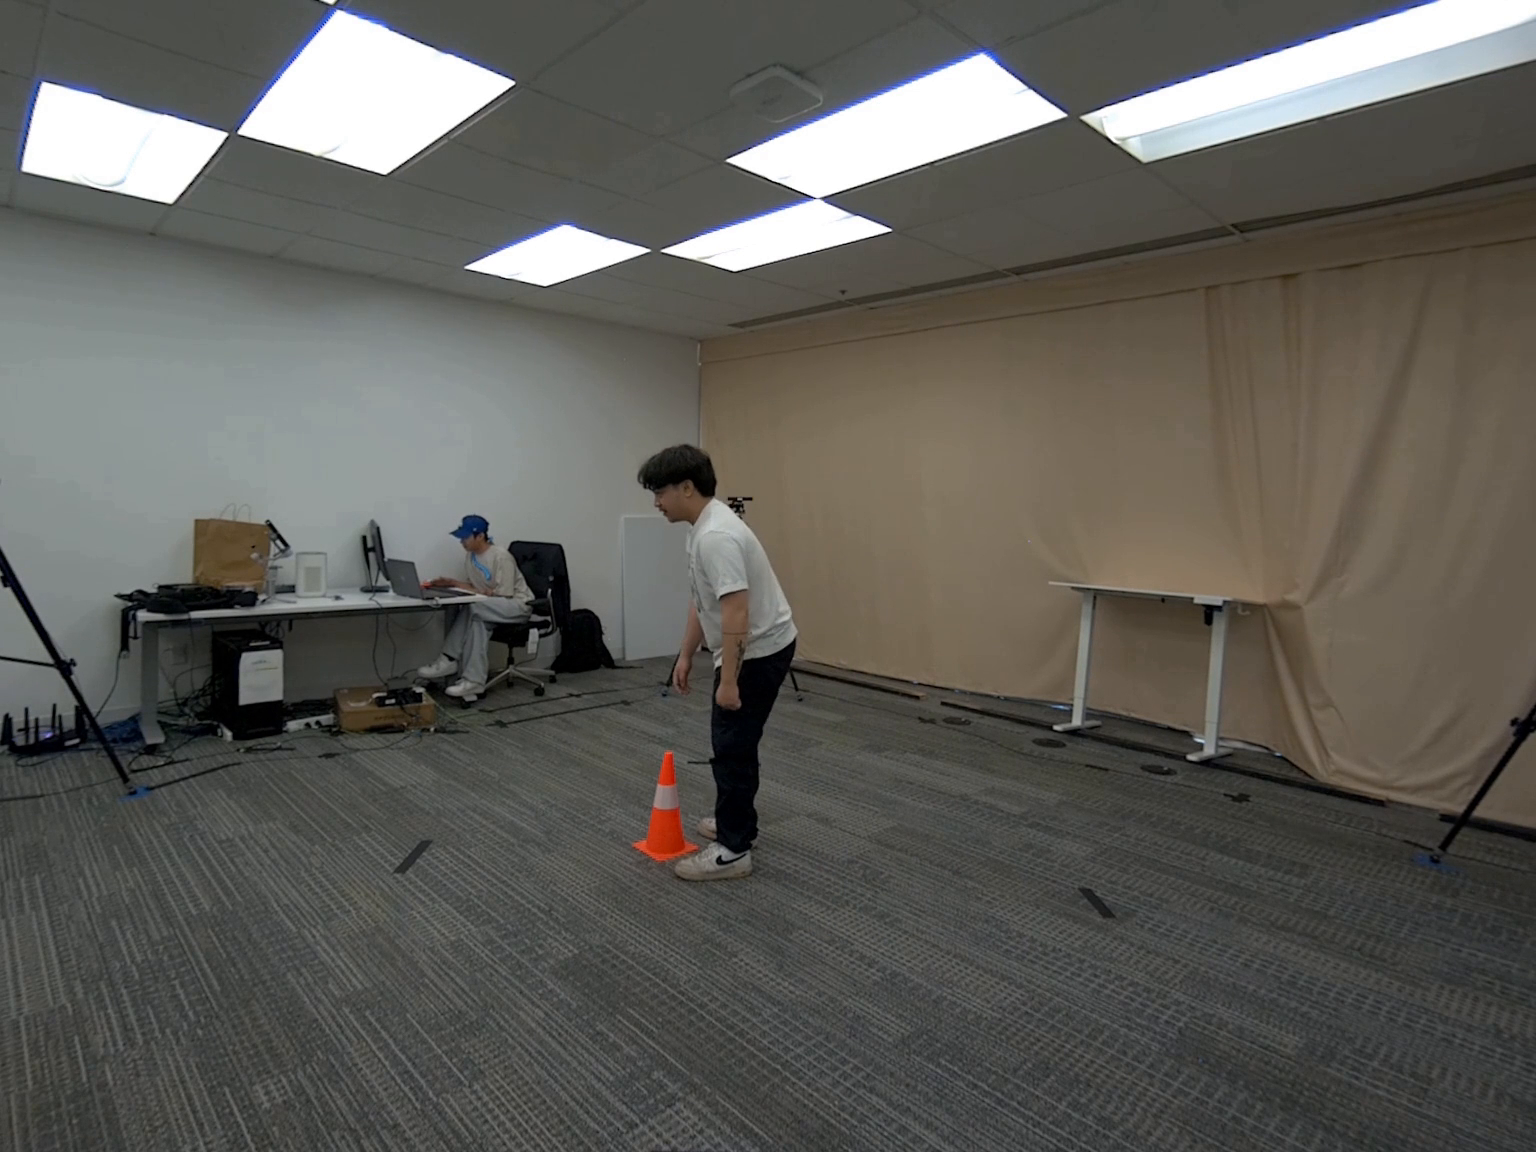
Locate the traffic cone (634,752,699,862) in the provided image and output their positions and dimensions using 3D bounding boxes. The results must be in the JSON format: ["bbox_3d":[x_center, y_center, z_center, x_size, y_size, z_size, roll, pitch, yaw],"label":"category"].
[{"bbox_3d":[-0.405,0.889,3.339,0.199,0.383,0.210,-1,5,-40],"label":"traffic cone"}]
